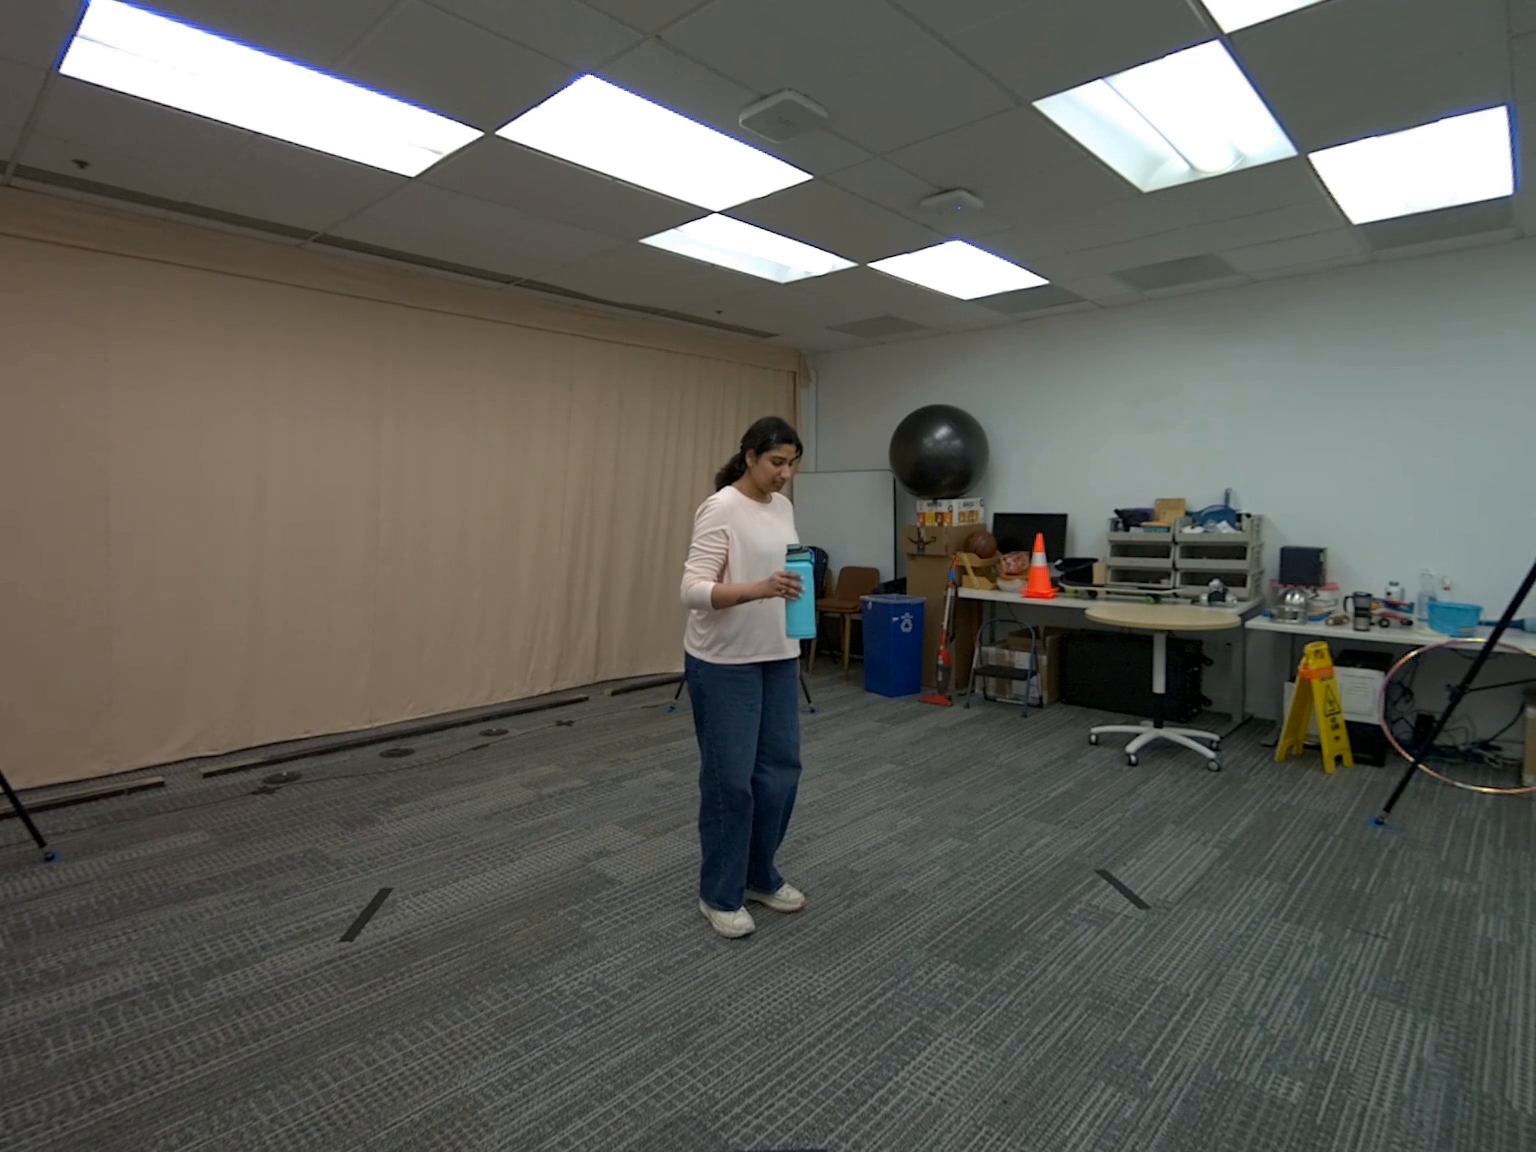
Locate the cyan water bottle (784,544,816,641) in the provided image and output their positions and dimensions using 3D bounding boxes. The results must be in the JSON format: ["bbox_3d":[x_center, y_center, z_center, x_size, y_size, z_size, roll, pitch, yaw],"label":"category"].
[{"bbox_3d":[0.102,0.046,2.543,0.092,0.283,0.092,1,0,-2],"label":"cyan water bottle"}]
